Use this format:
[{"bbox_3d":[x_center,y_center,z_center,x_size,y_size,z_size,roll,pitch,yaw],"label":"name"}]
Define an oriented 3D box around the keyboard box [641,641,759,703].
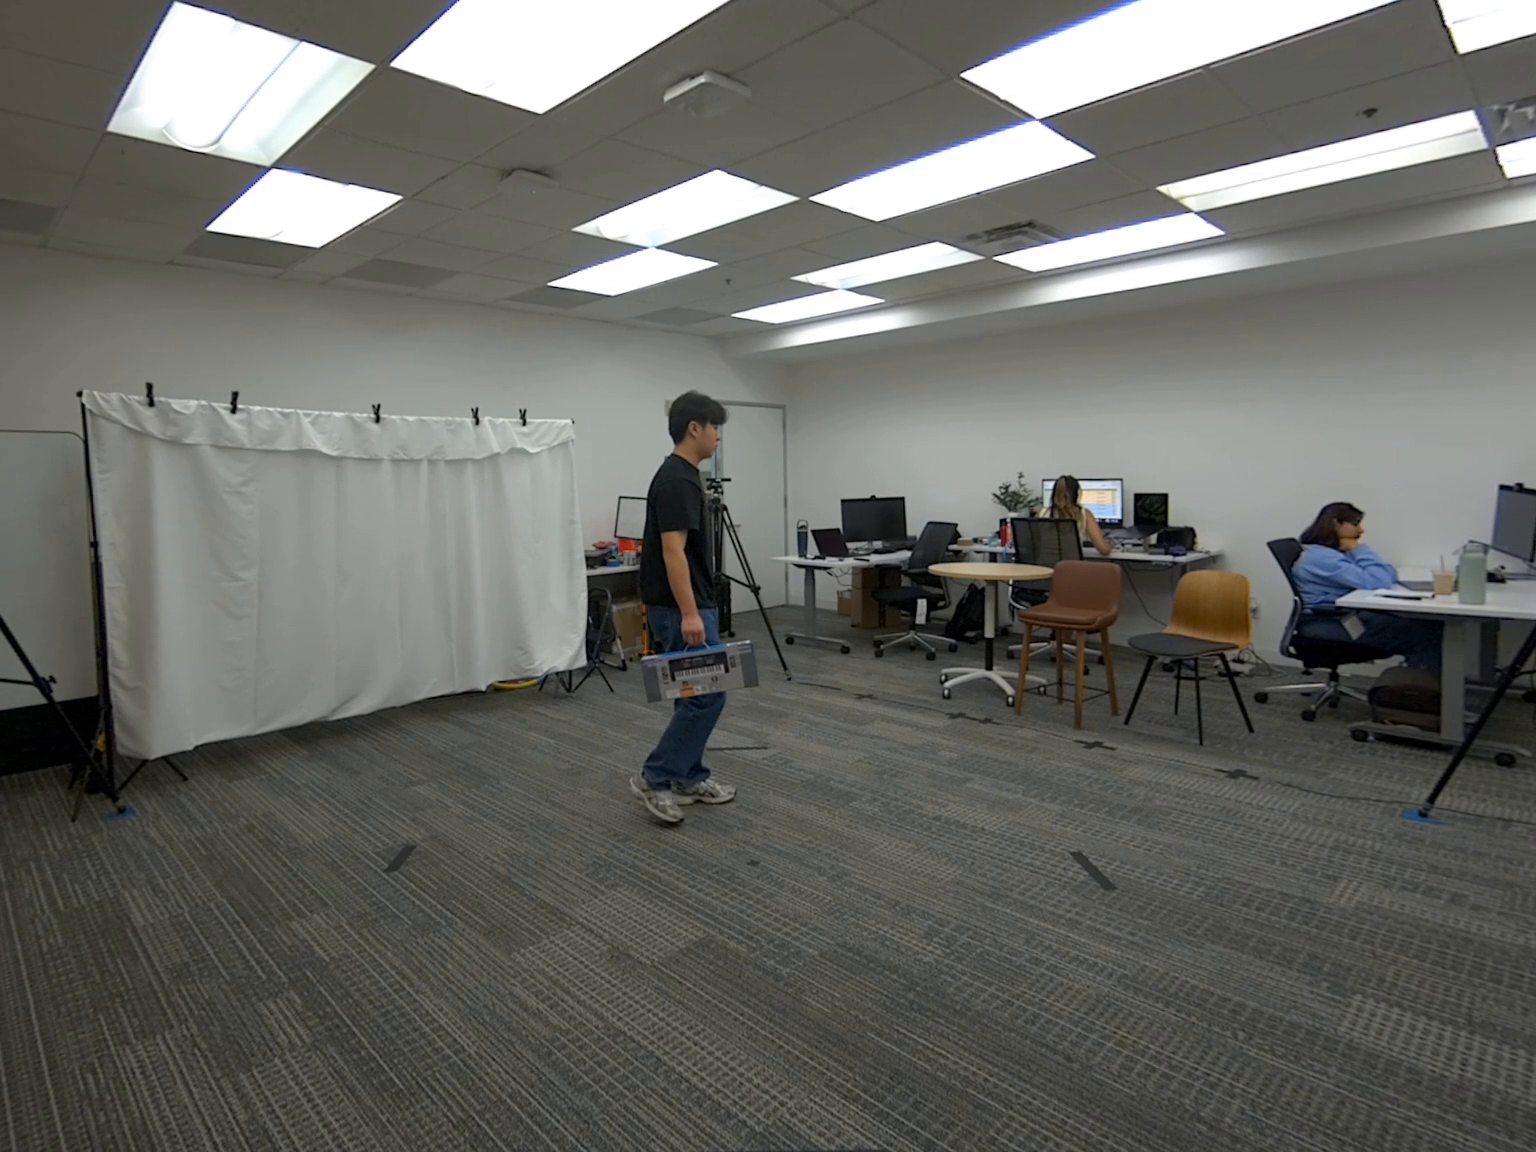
[{"bbox_3d":[-0.268,0.371,3.308,0.437,0.175,0.059,-9,5,1],"label":"keyboard box"}]
